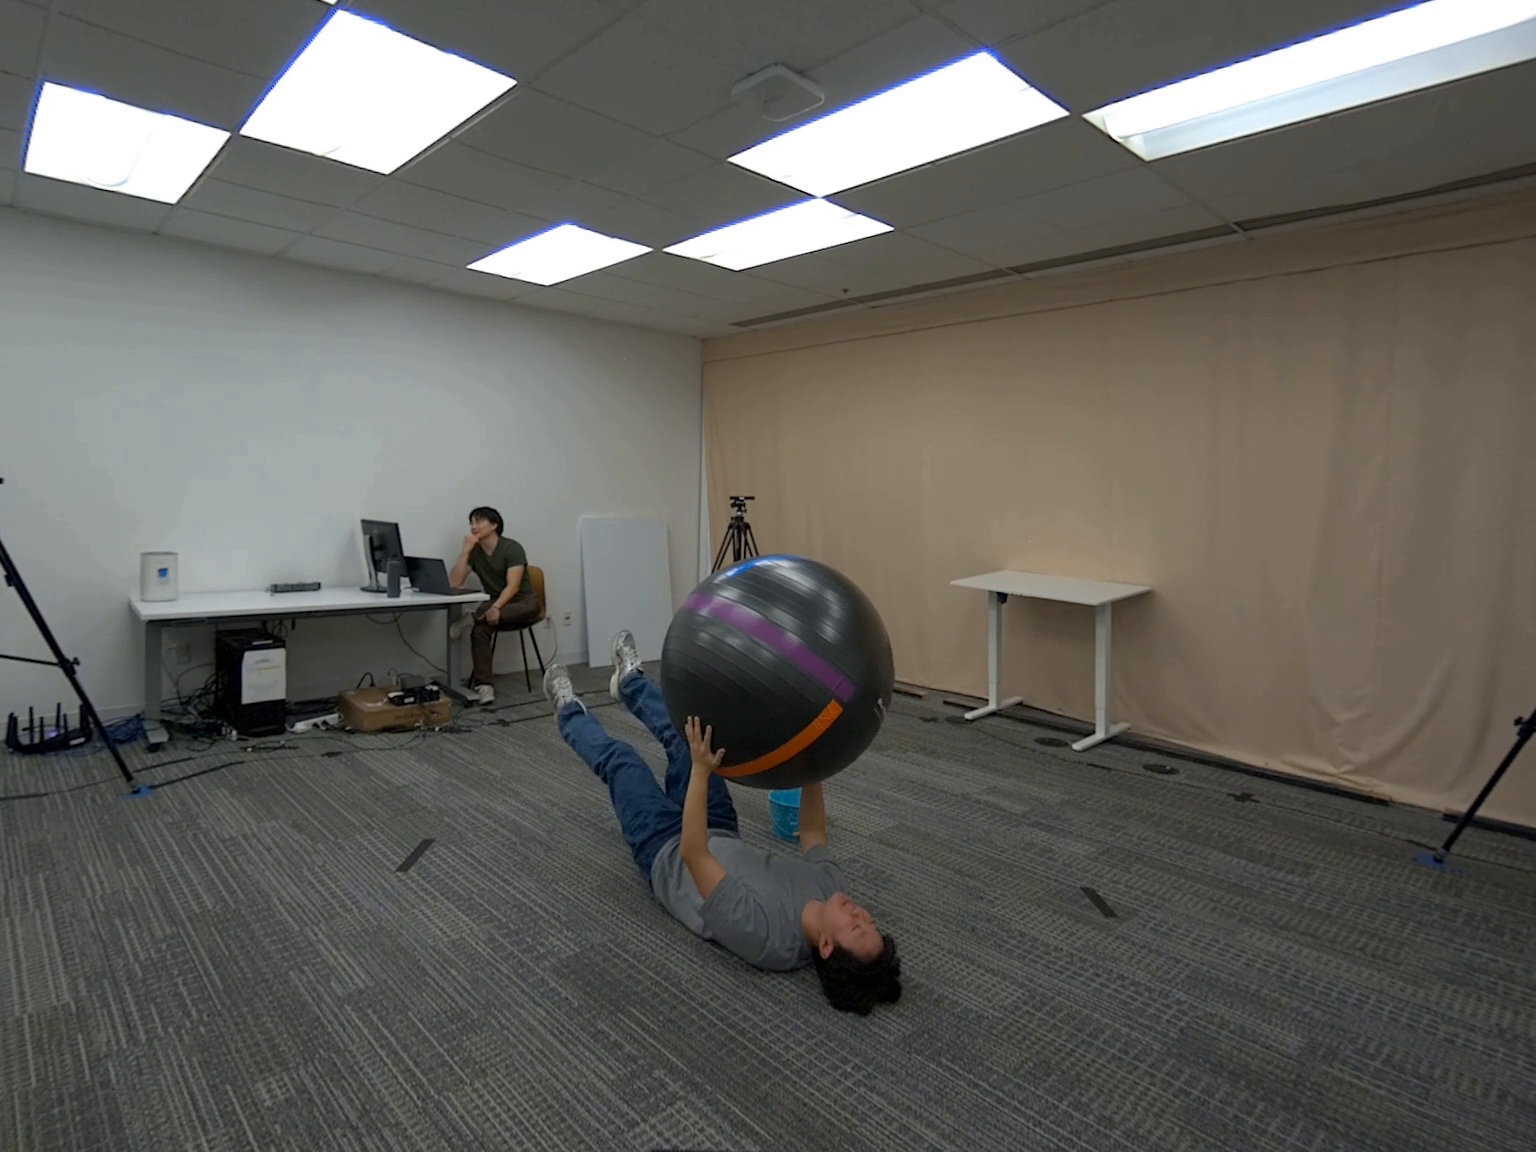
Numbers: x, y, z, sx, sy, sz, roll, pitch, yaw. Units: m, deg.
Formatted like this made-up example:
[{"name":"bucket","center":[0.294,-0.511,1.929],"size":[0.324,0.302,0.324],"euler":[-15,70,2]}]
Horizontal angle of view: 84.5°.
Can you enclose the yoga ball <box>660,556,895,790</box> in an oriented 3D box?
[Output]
[{"name":"yoga ball","center":[0.026,0.318,2.751],"size":[0.757,0.756,0.761],"euler":[1,4,-1]}]
